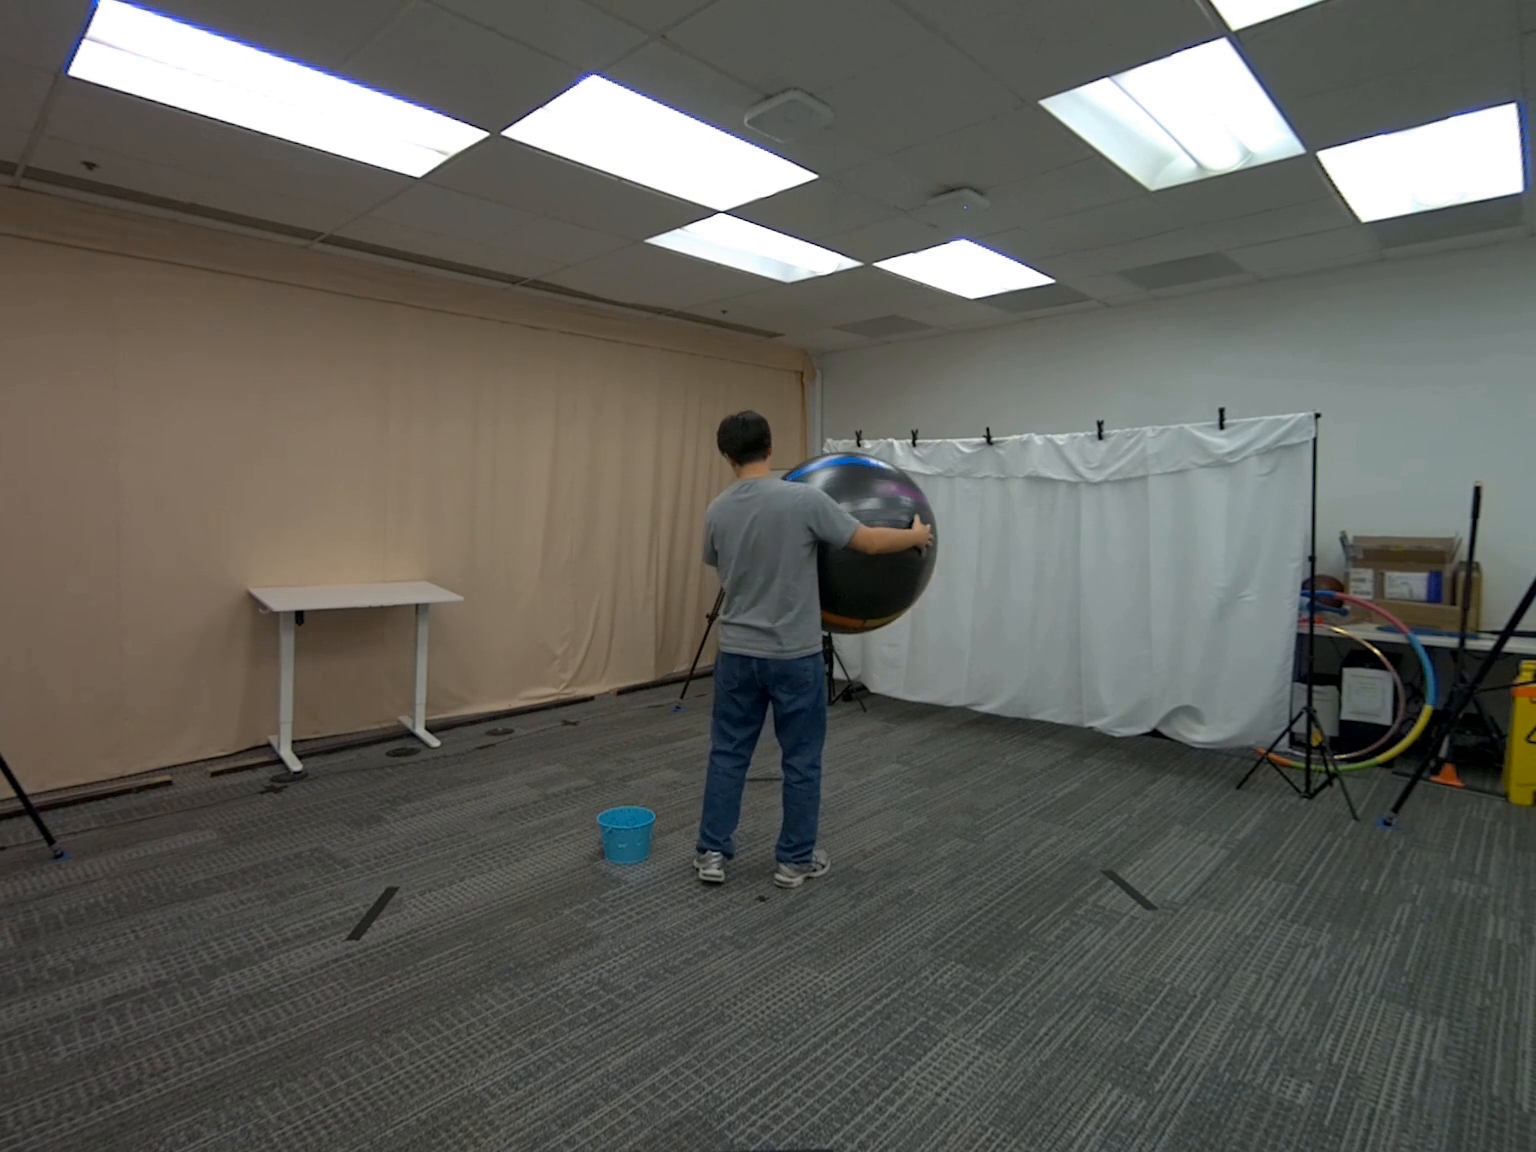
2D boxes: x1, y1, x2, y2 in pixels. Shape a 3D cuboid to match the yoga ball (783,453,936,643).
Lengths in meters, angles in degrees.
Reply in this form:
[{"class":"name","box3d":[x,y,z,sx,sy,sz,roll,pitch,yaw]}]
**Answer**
[{"class":"yoga ball","box3d":[0.308,-0.130,3.535,0.757,0.756,0.761,0,4,-2]}]
